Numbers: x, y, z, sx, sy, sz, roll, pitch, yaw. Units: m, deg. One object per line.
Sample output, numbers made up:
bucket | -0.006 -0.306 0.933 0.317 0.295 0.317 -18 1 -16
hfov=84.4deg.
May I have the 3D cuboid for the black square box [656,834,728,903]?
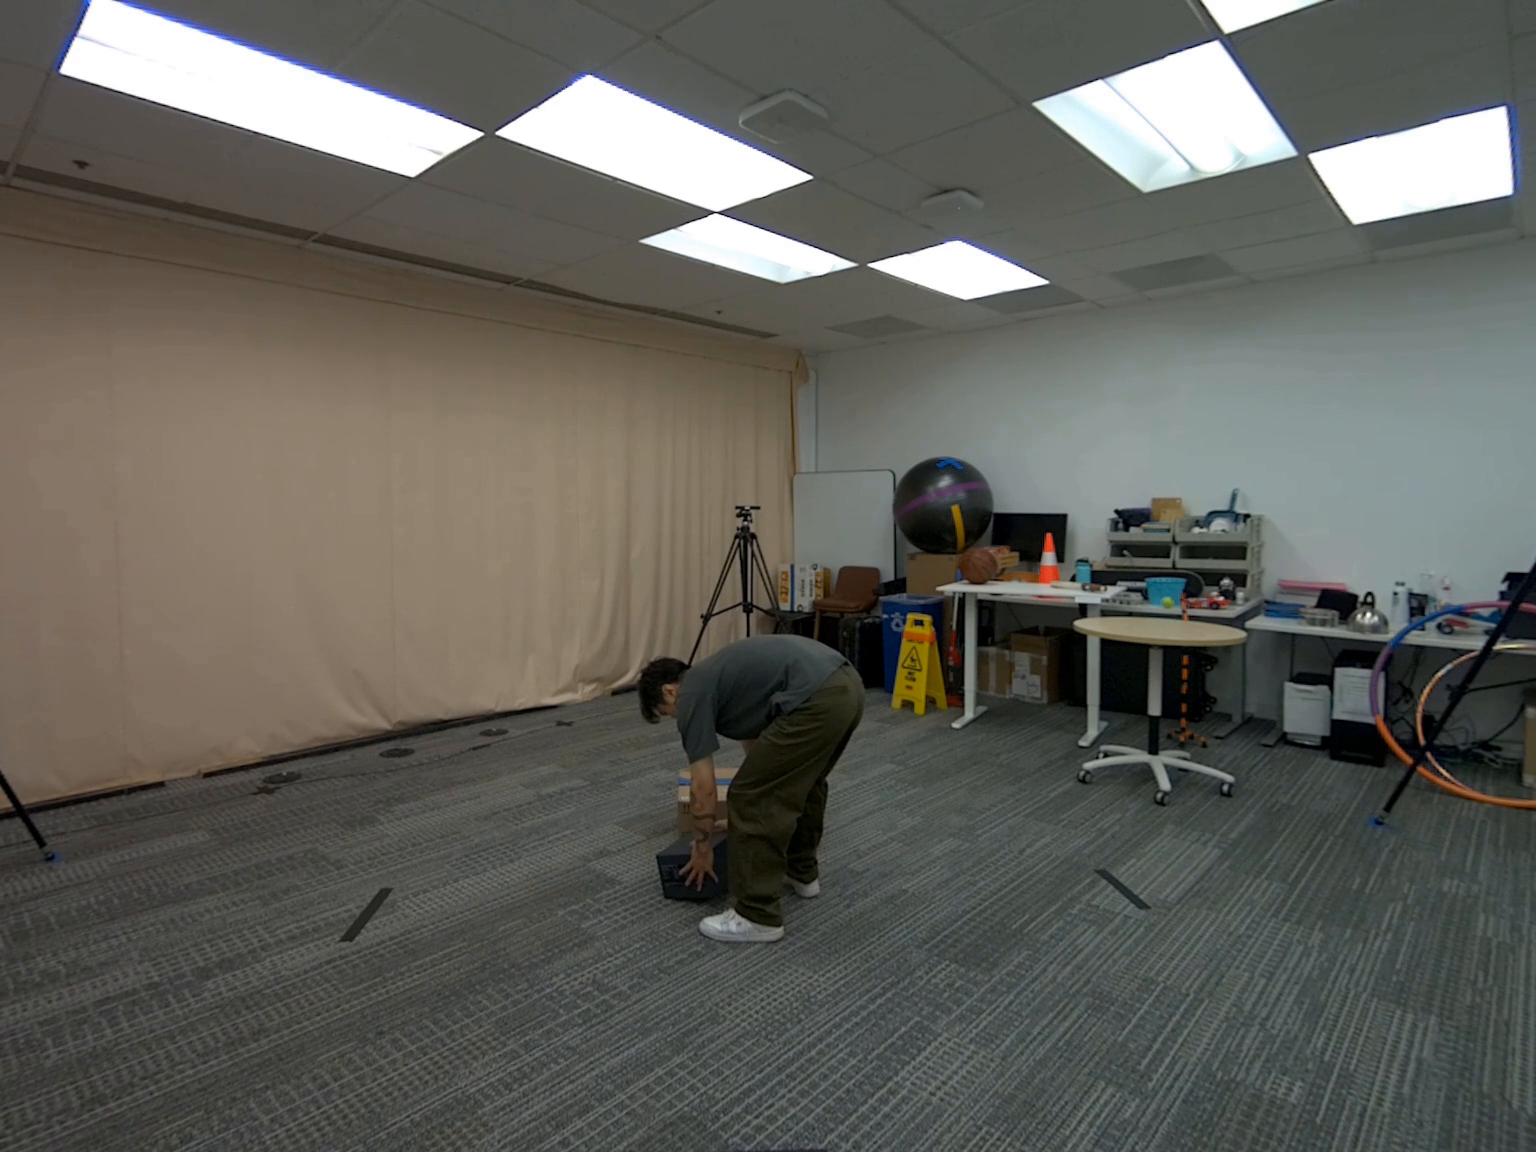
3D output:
black square box | -0.247 1.043 3.046 0.222 0.156 0.223 -11 0 25
